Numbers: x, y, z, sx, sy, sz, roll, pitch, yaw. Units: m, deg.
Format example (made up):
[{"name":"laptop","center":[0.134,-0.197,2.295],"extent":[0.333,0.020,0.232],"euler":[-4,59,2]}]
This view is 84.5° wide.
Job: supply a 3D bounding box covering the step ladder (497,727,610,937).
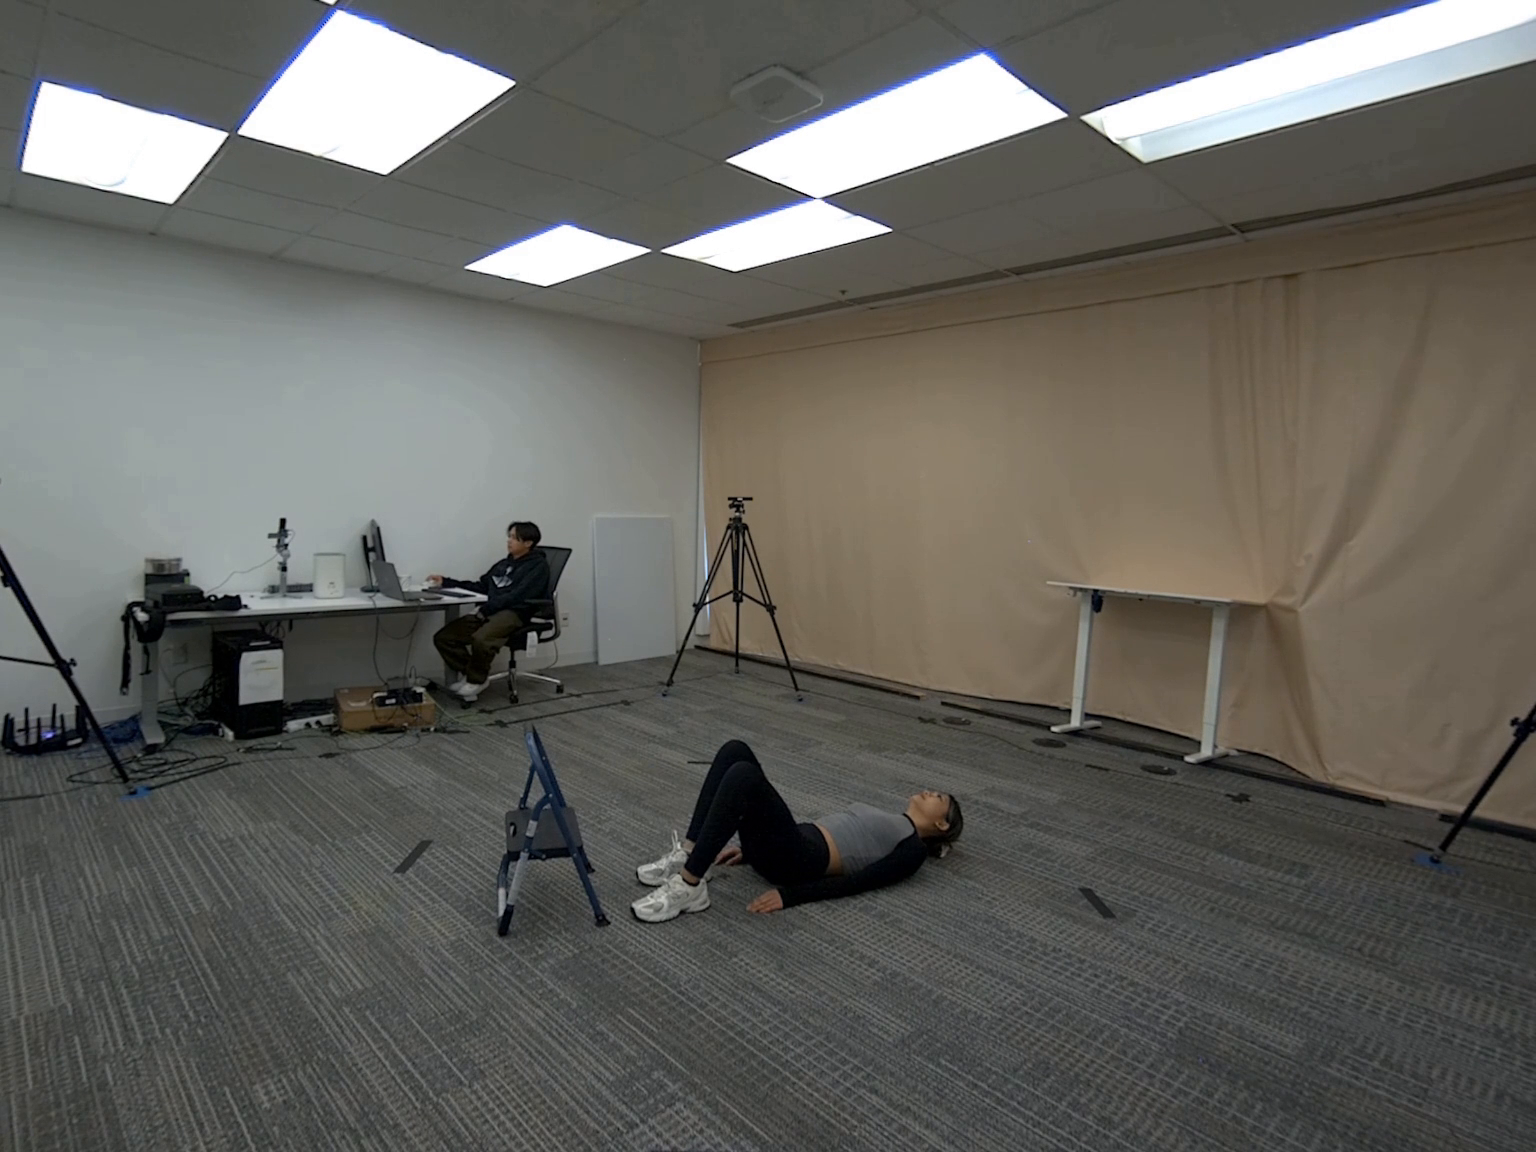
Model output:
[{"name":"step ladder","center":[-0.744,0.816,2.862],"extent":[0.344,0.604,0.438],"euler":[0,4,-19]}]
